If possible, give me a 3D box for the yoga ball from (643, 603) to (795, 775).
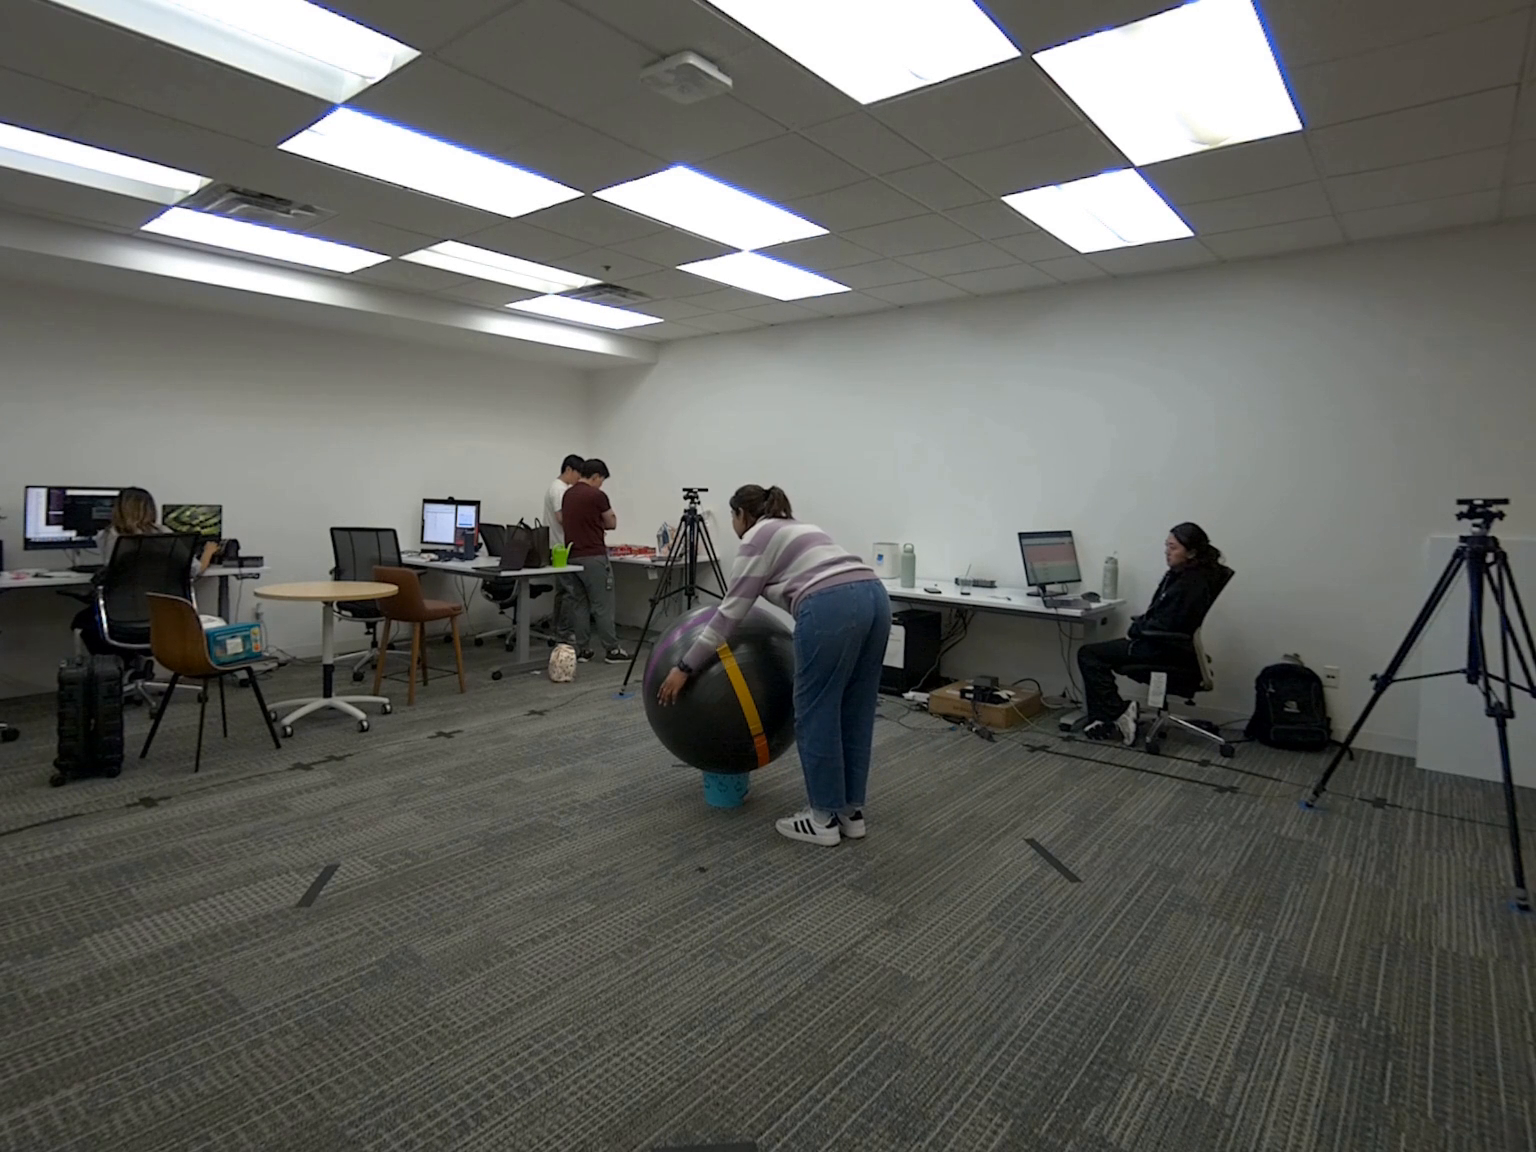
[{"bbox_3d":[-0.197,0.495,3.796,0.757,0.756,0.761,1,4,-2],"label":"yoga ball"}]
